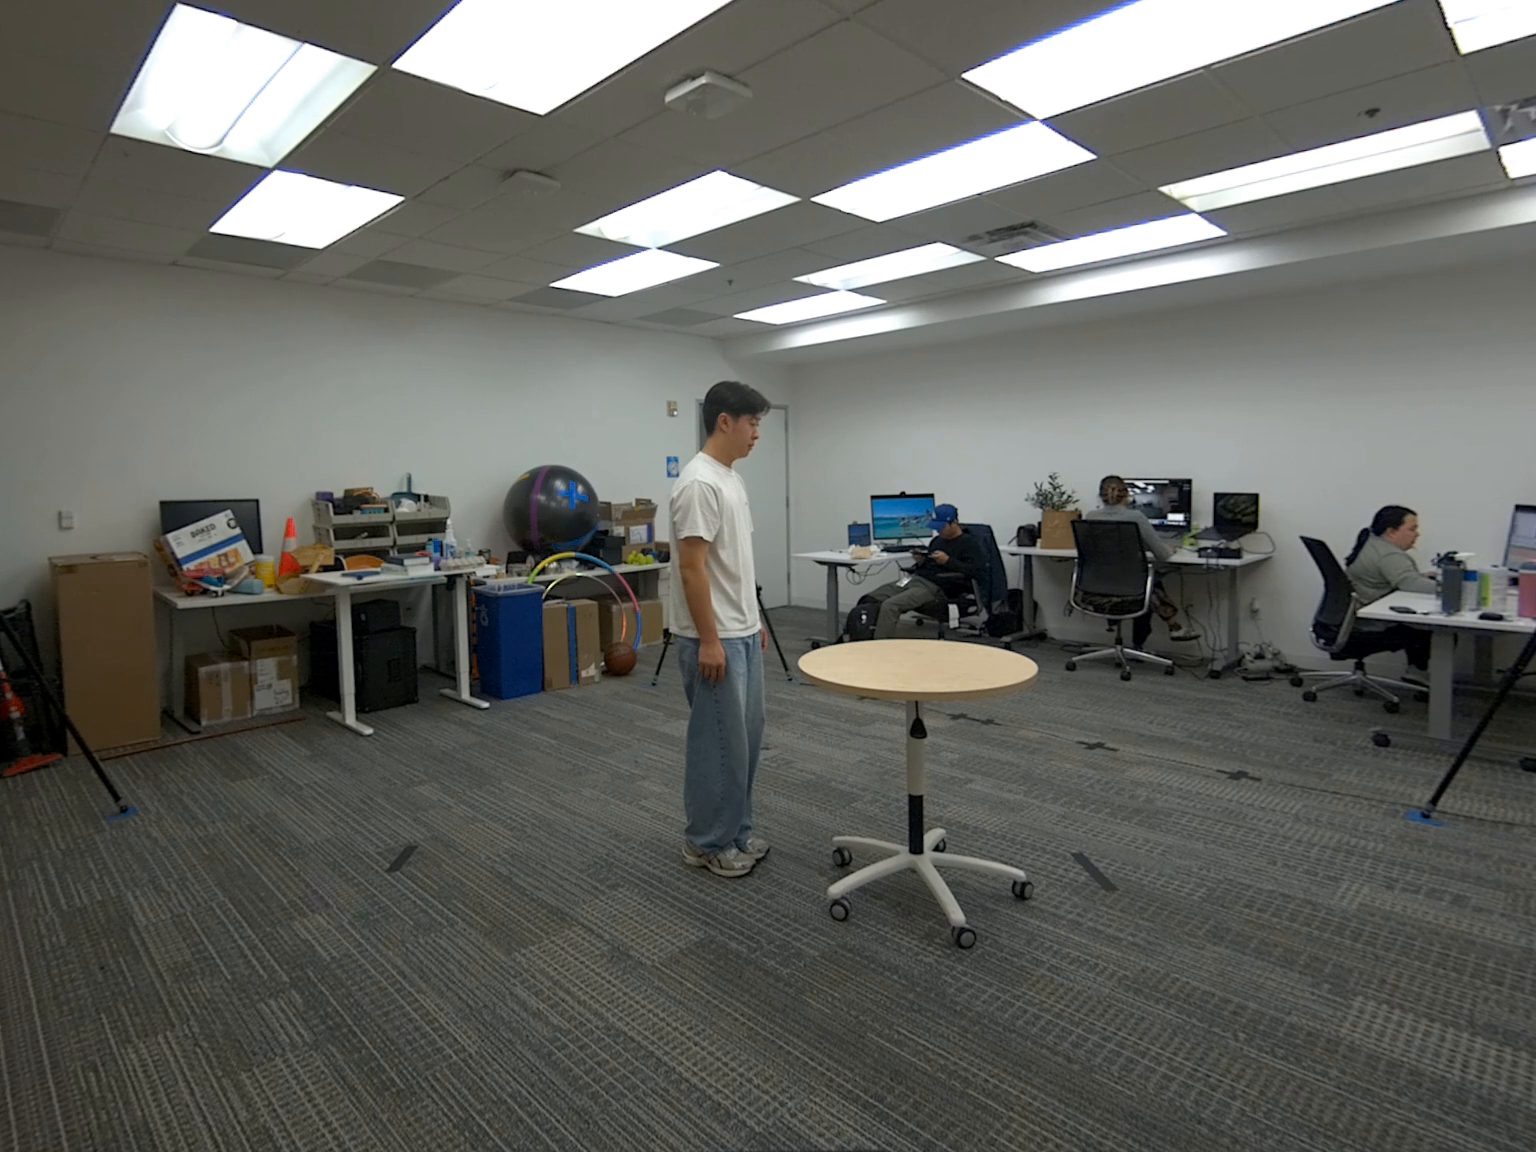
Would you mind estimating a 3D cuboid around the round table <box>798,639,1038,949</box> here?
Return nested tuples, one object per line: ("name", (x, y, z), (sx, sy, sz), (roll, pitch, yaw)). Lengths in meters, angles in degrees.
("round table", (0.494, 0.679, 2.839), (0.763, 0.790, 0.768), (-1, 5, -2))
